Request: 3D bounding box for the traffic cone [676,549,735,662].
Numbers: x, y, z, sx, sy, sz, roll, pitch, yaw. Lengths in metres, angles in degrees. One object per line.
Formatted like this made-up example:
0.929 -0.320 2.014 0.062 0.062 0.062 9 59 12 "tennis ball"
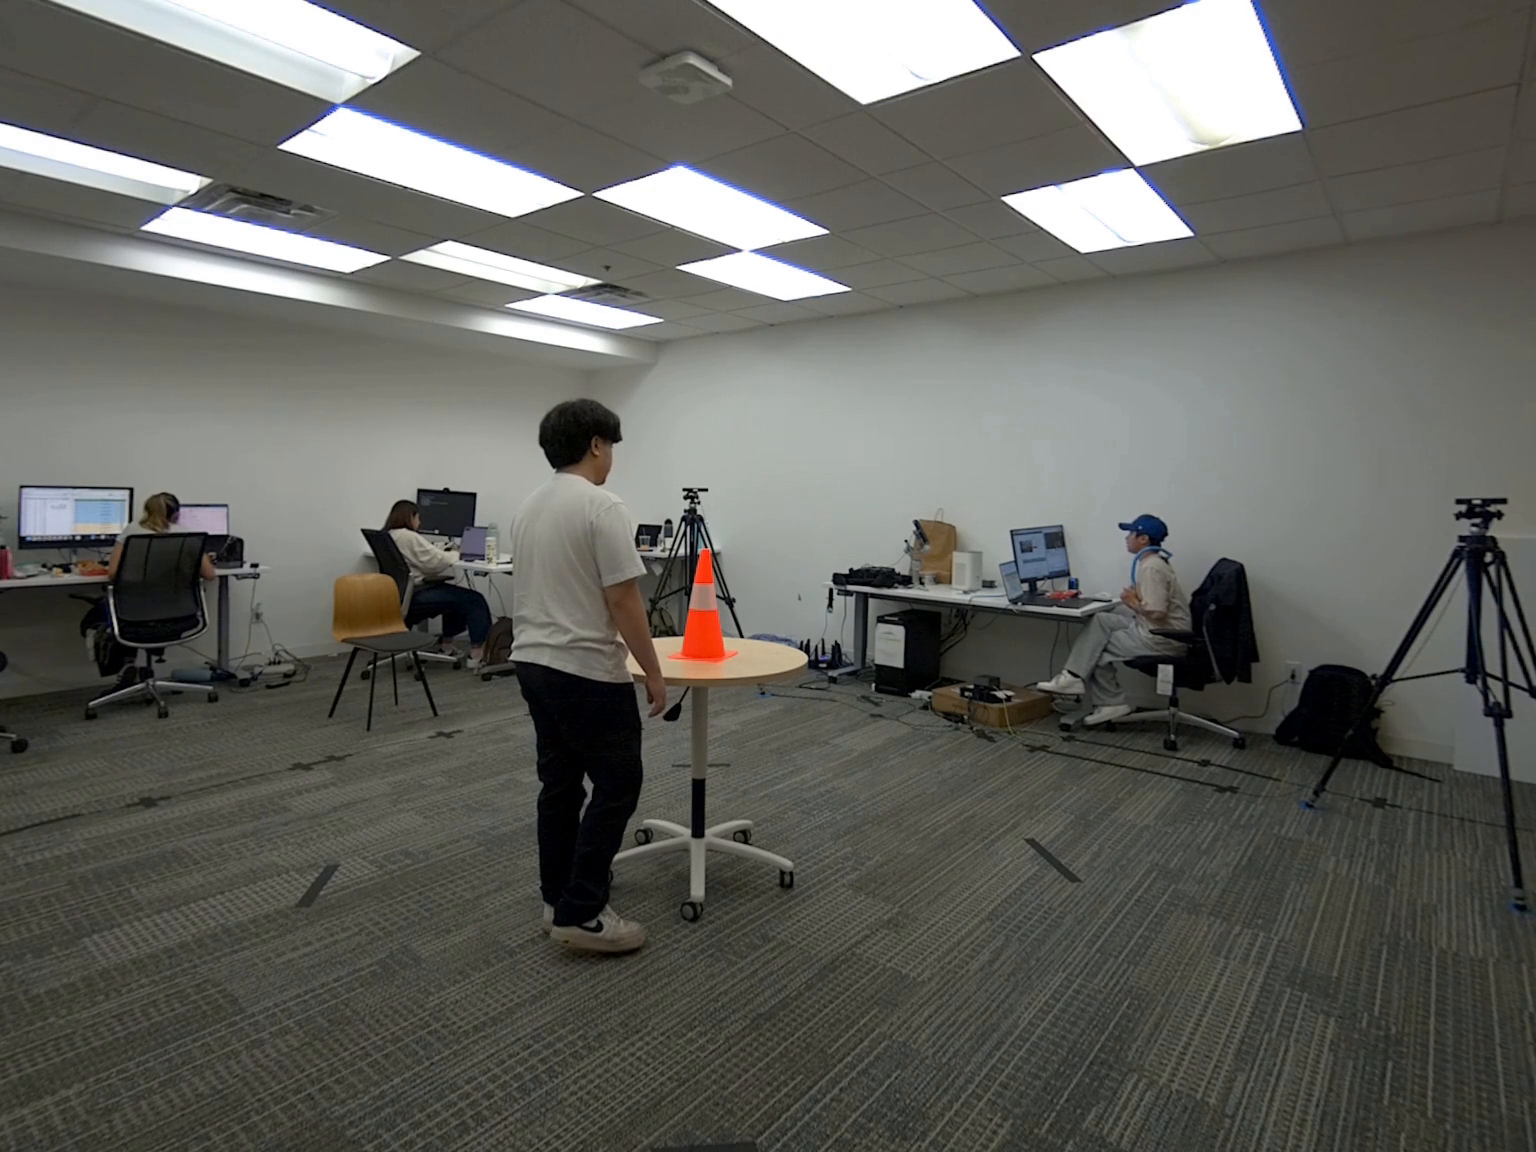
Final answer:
-0.235 0.094 3.017 0.210 0.382 0.199 3 5 22 "traffic cone"
